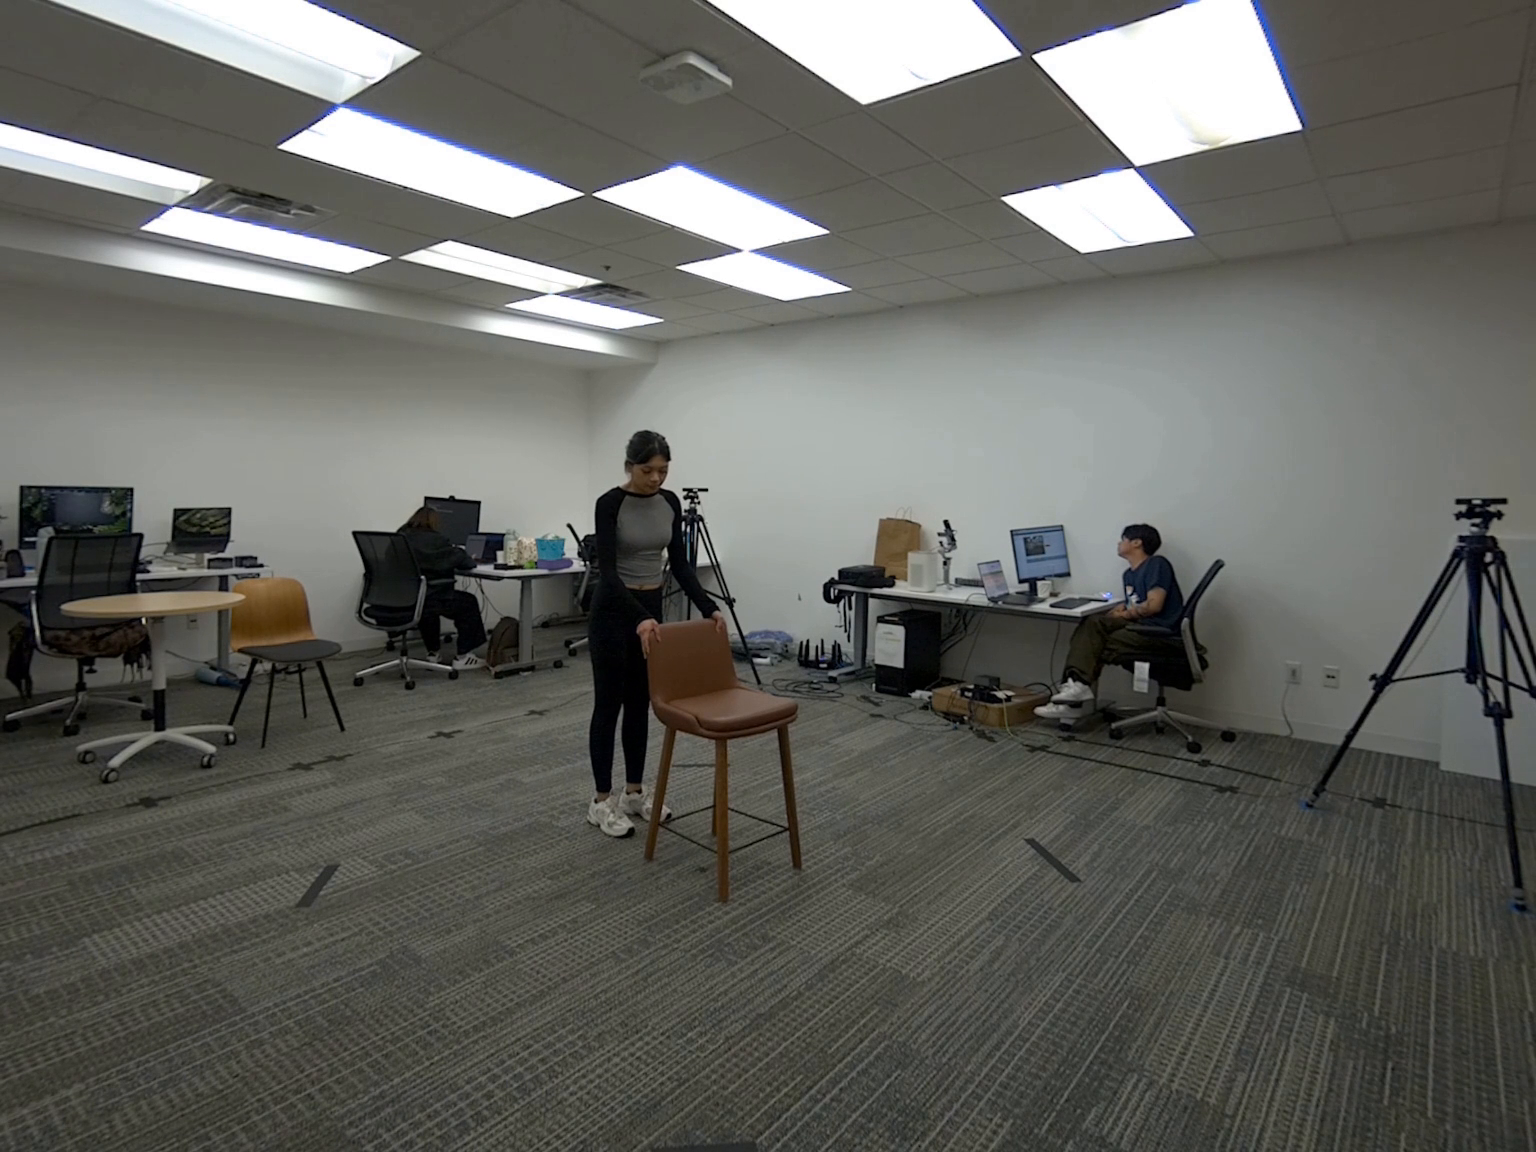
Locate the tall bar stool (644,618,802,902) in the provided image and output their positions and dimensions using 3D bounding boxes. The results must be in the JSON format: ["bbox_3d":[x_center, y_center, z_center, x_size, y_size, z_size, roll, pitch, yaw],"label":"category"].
[{"bbox_3d":[-0.183,0.627,3.141,0.483,0.889,0.442,0,2,44],"label":"tall bar stool"}]
